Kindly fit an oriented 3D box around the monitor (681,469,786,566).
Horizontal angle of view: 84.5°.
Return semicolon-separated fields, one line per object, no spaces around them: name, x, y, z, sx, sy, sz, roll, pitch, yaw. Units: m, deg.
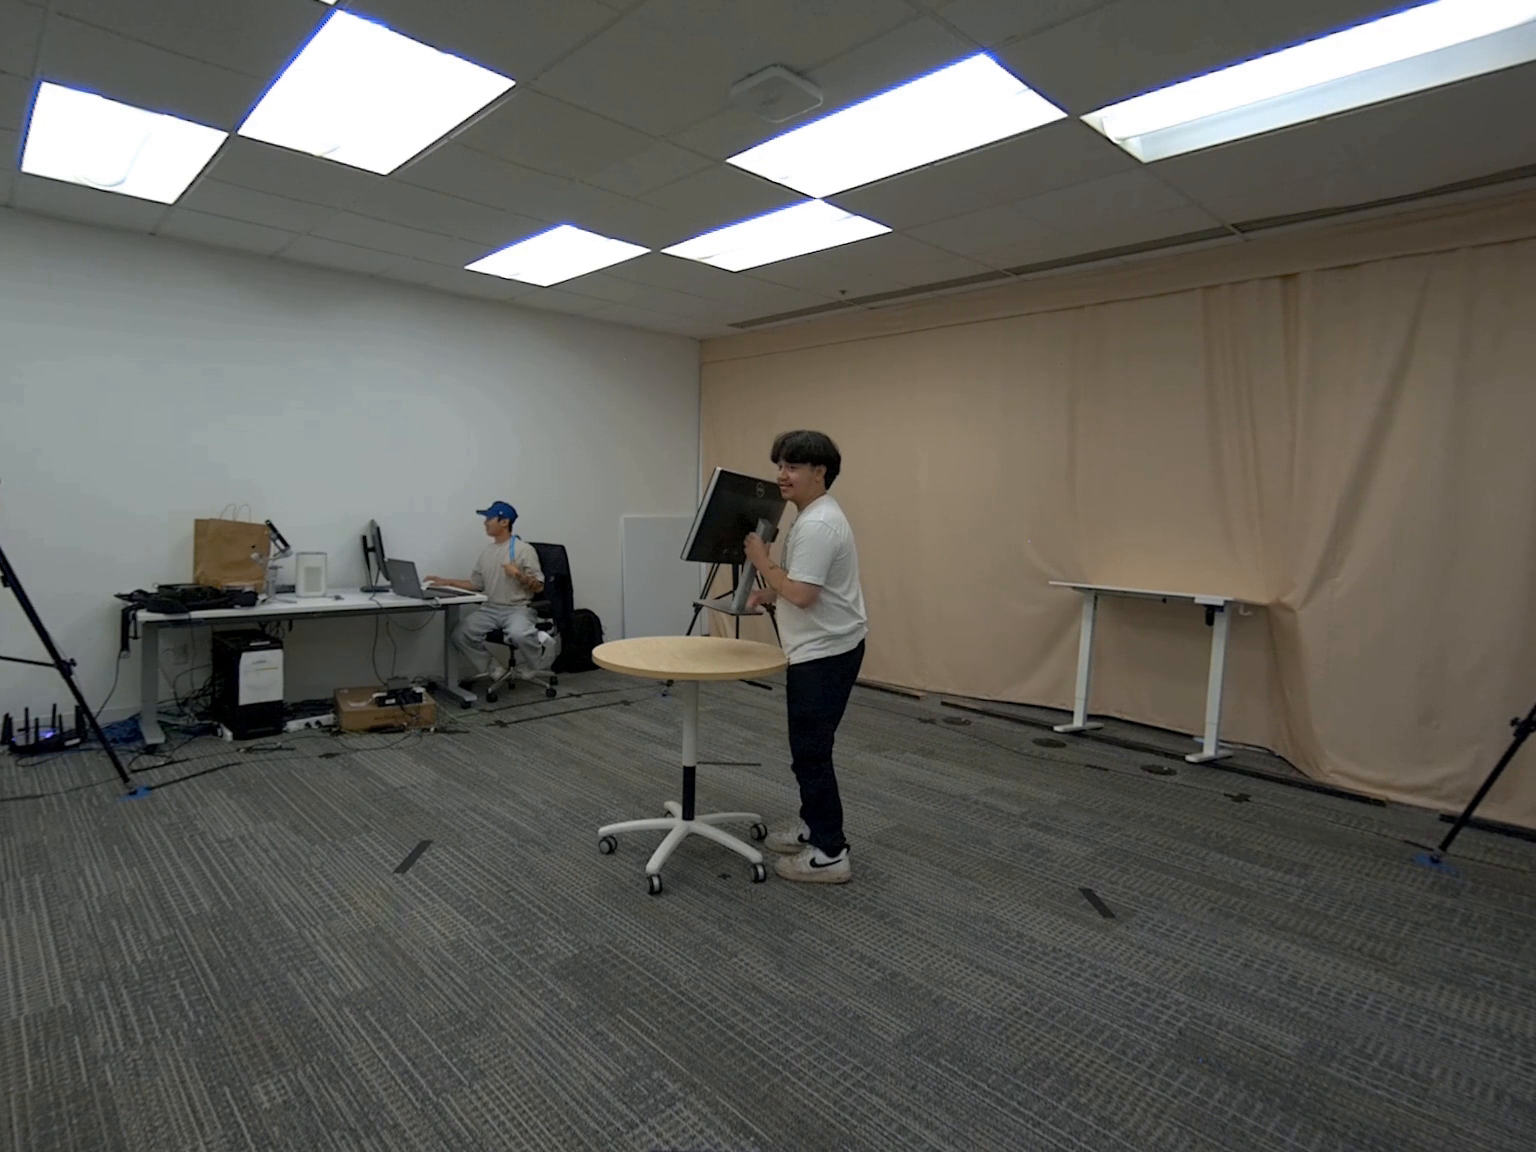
monitor;-0.079;-0.105;3.244;0.216;0.552;0.552;21;8;30
